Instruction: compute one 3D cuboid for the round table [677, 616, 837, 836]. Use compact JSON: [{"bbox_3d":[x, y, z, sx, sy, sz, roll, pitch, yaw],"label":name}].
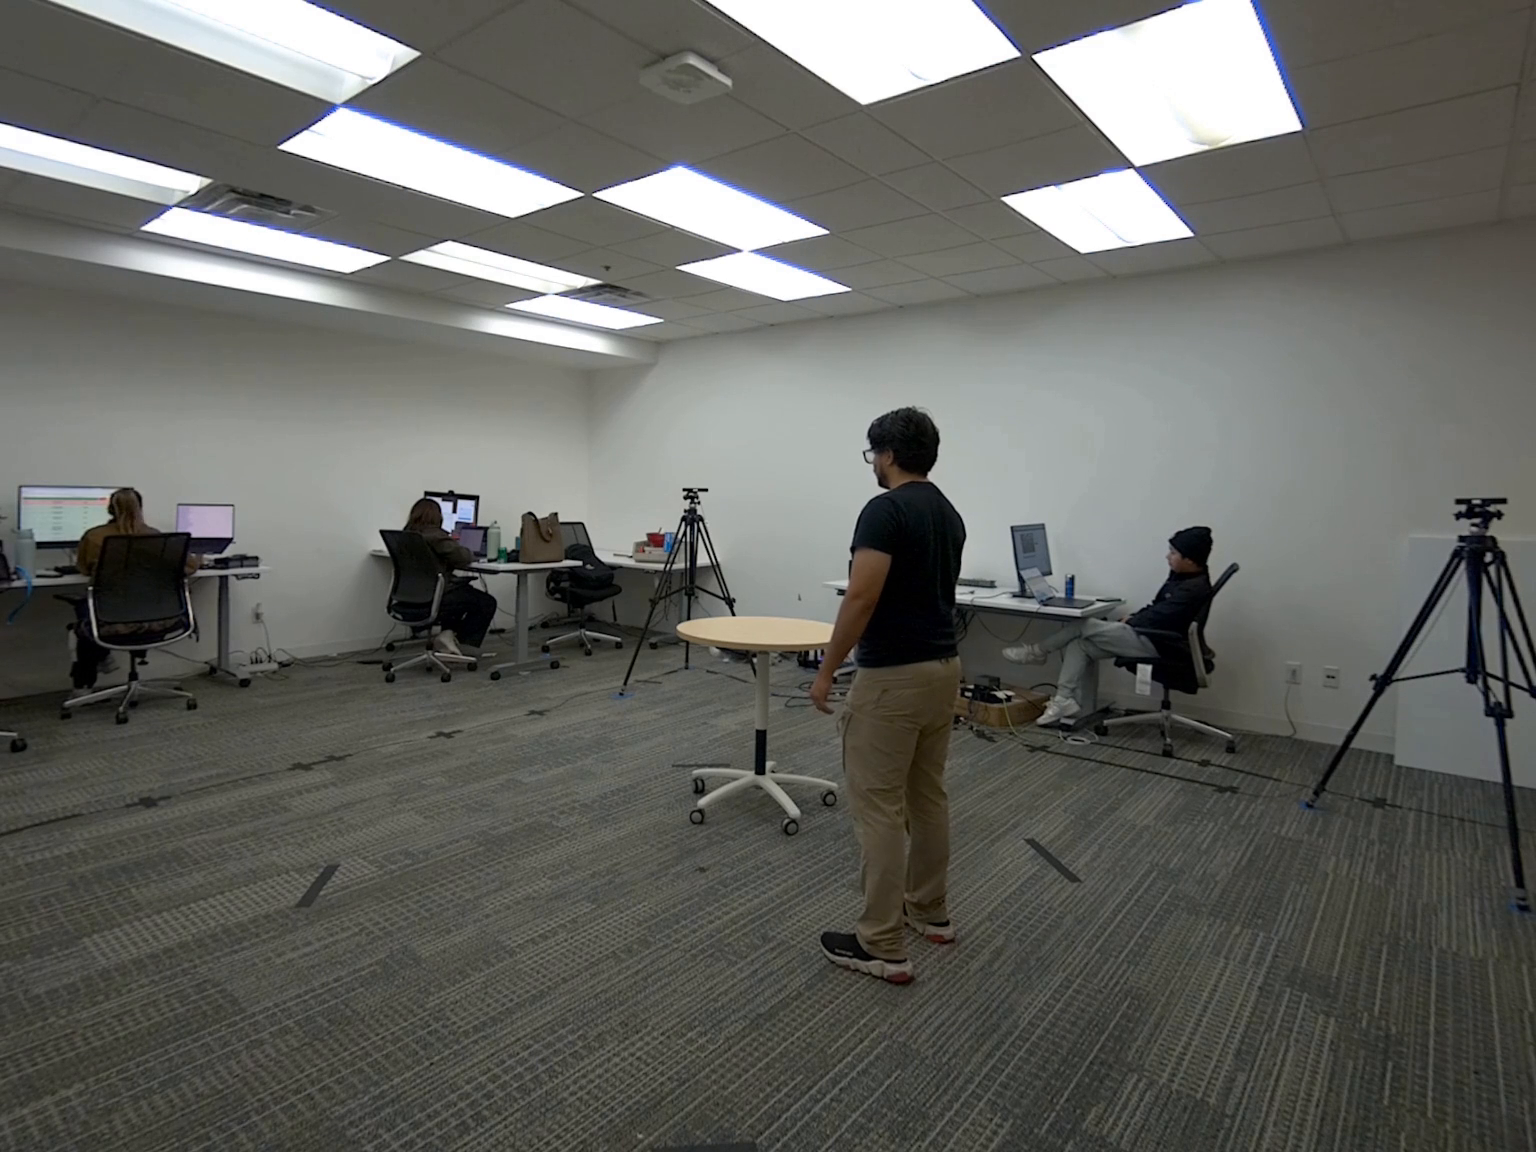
[{"bbox_3d":[-0.035,0.618,3.755,0.784,0.784,0.789,1,4,-2],"label":"round table"}]
